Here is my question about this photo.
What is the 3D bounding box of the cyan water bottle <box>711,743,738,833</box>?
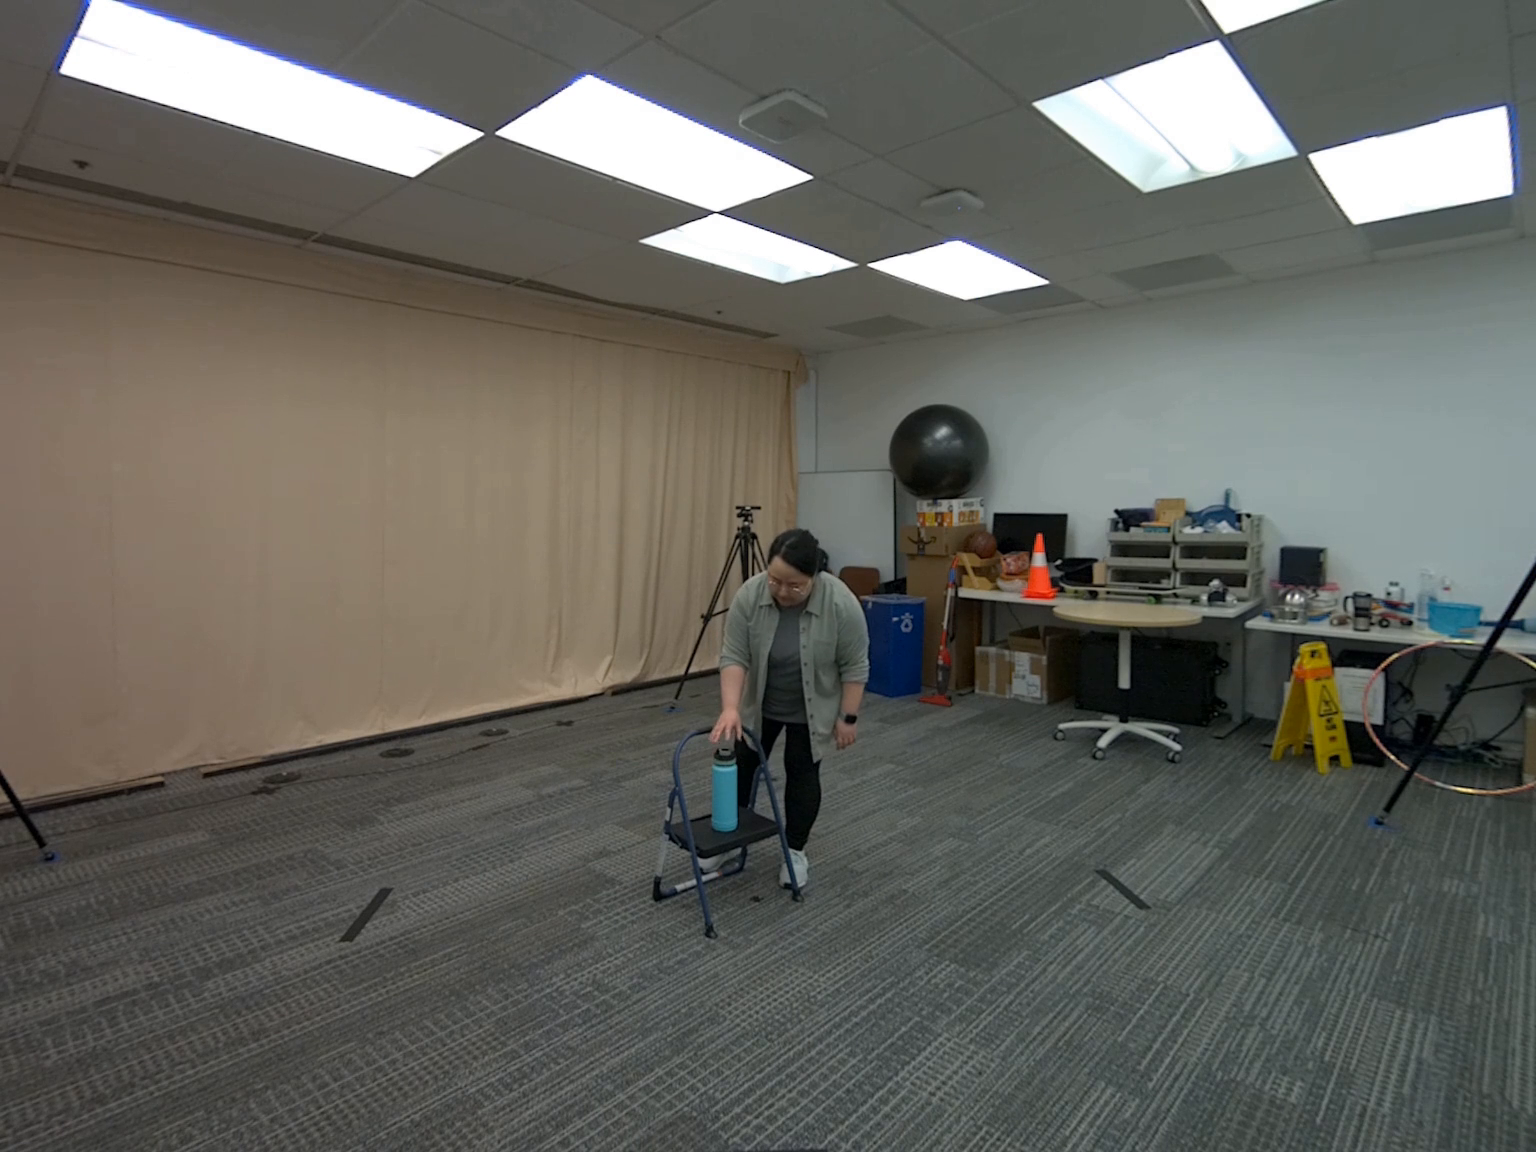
[{"bbox_3d":[-0.157,0.747,2.953,0.092,0.283,0.093,1,4,-2],"label":"cyan water bottle"}]
